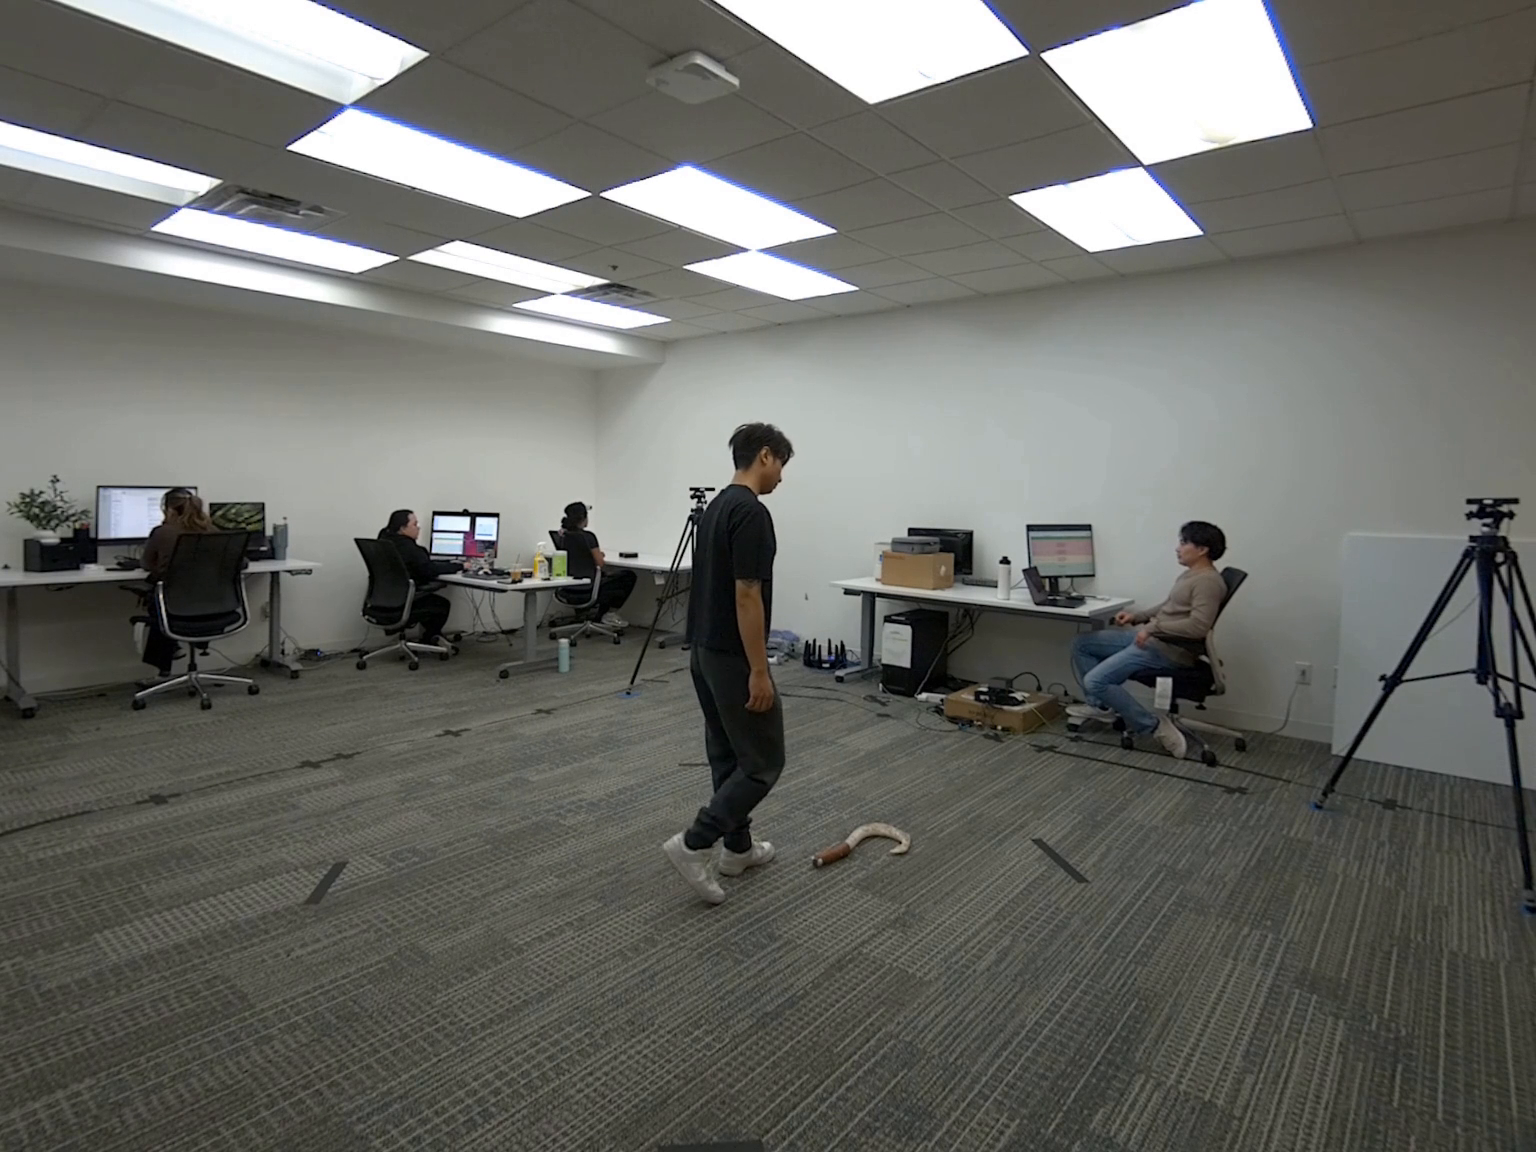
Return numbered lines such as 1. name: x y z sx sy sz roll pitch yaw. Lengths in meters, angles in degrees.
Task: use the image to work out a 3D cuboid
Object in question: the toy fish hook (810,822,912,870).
1. toy fish hook: 0.360 1.041 3.270 0.232 0.048 0.492 5 7 42
